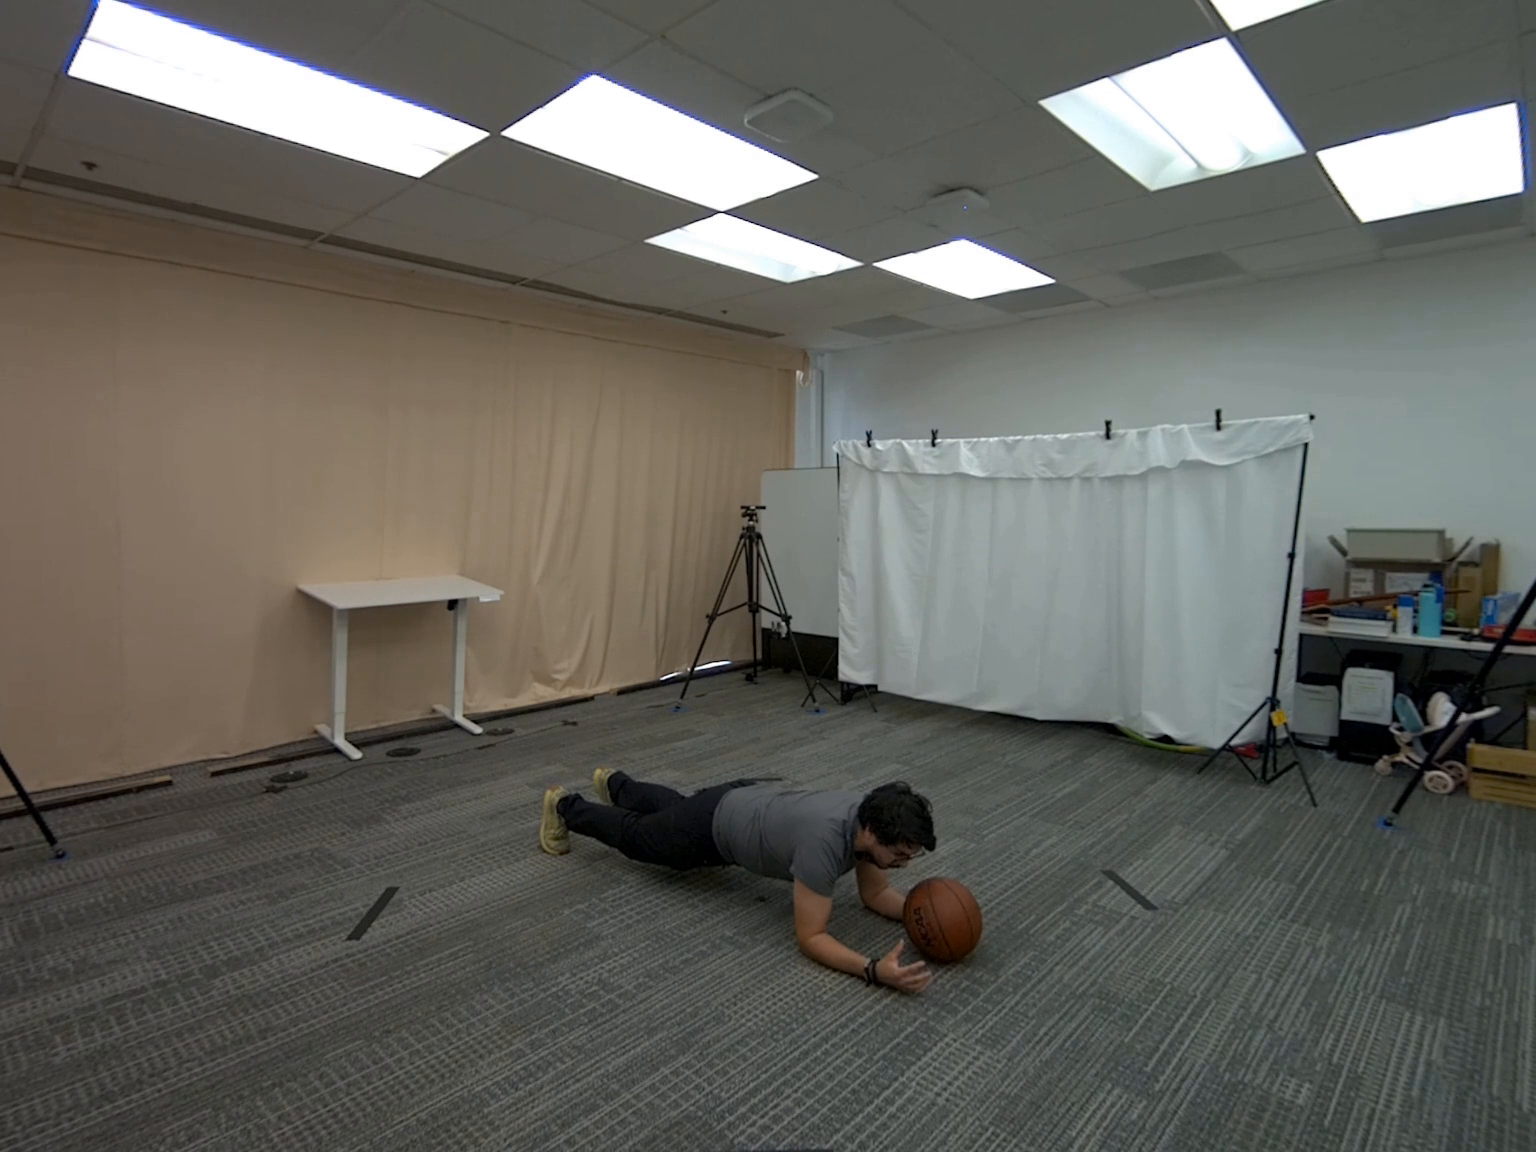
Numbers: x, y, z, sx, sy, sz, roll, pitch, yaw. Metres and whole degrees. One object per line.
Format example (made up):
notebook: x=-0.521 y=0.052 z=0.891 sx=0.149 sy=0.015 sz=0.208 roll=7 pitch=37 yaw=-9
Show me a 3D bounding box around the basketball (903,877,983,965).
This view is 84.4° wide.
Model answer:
basketball: x=0.540 y=1.059 z=2.583 sx=0.236 sy=0.235 sz=0.237 roll=0 pitch=4 yaw=-2
